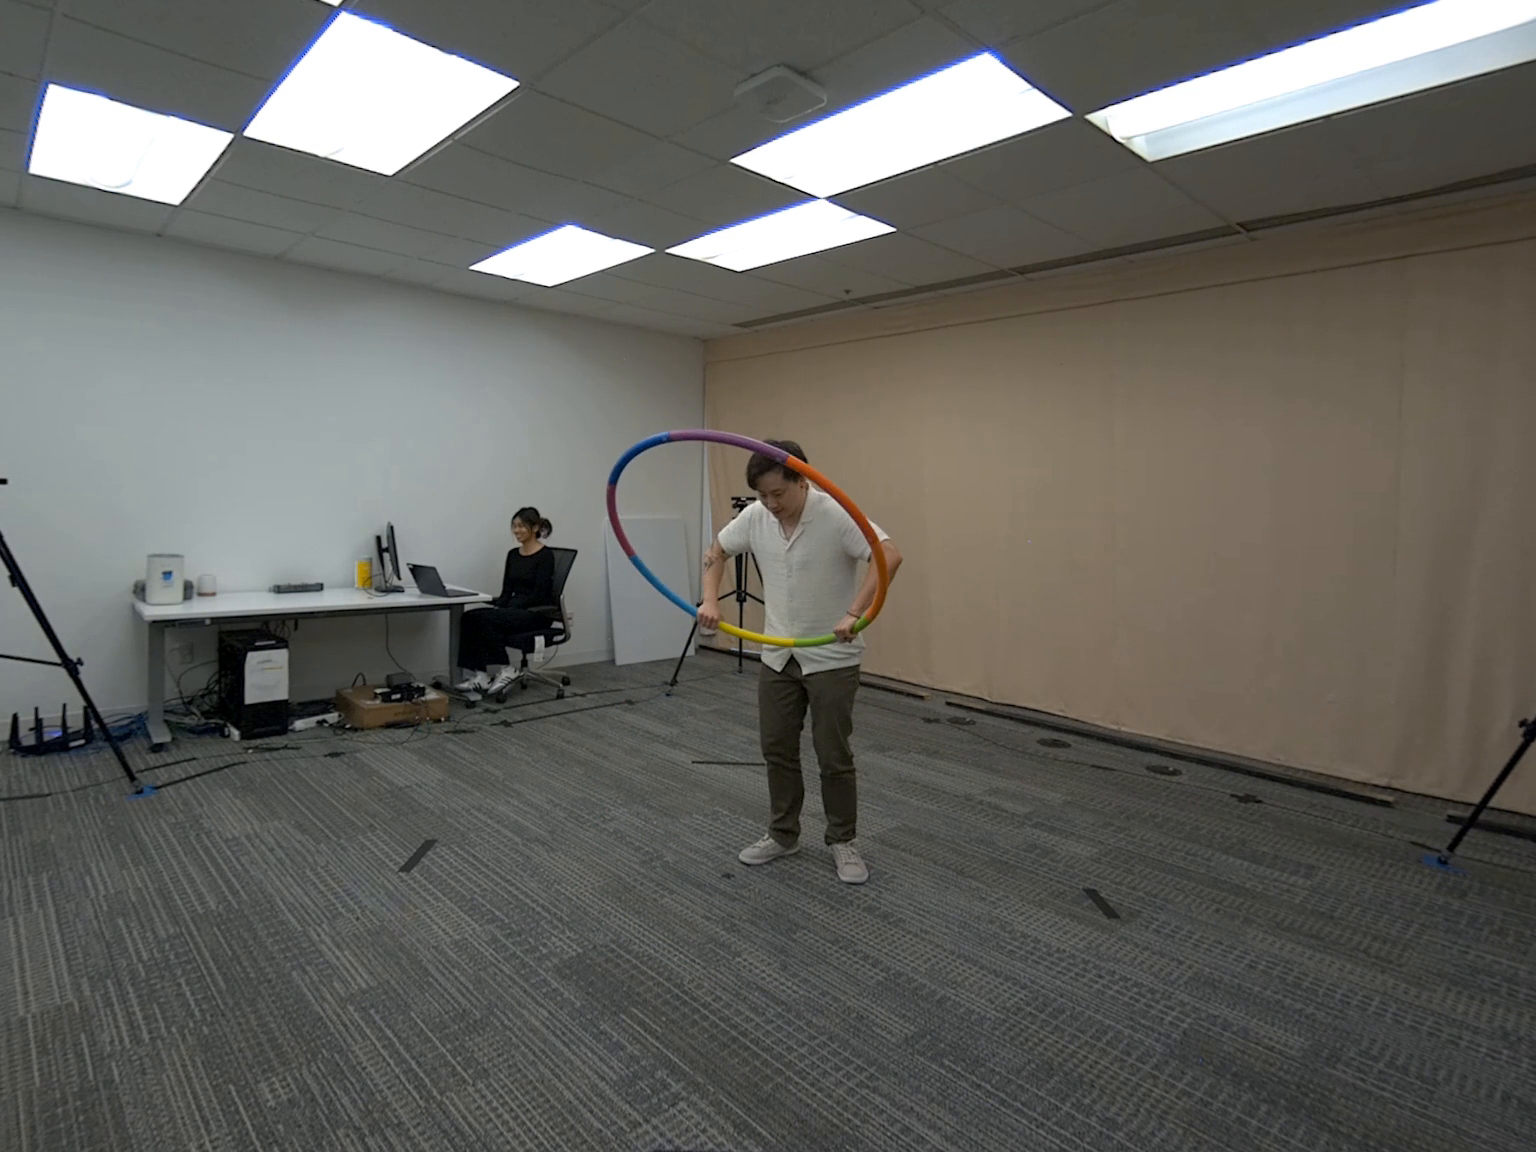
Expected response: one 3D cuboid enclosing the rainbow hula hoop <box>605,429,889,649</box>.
[{"bbox_3d":[-0.085,-0.088,2.774,1.000,0.950,0.036,5,47,30],"label":"rainbow hula hoop"}]
